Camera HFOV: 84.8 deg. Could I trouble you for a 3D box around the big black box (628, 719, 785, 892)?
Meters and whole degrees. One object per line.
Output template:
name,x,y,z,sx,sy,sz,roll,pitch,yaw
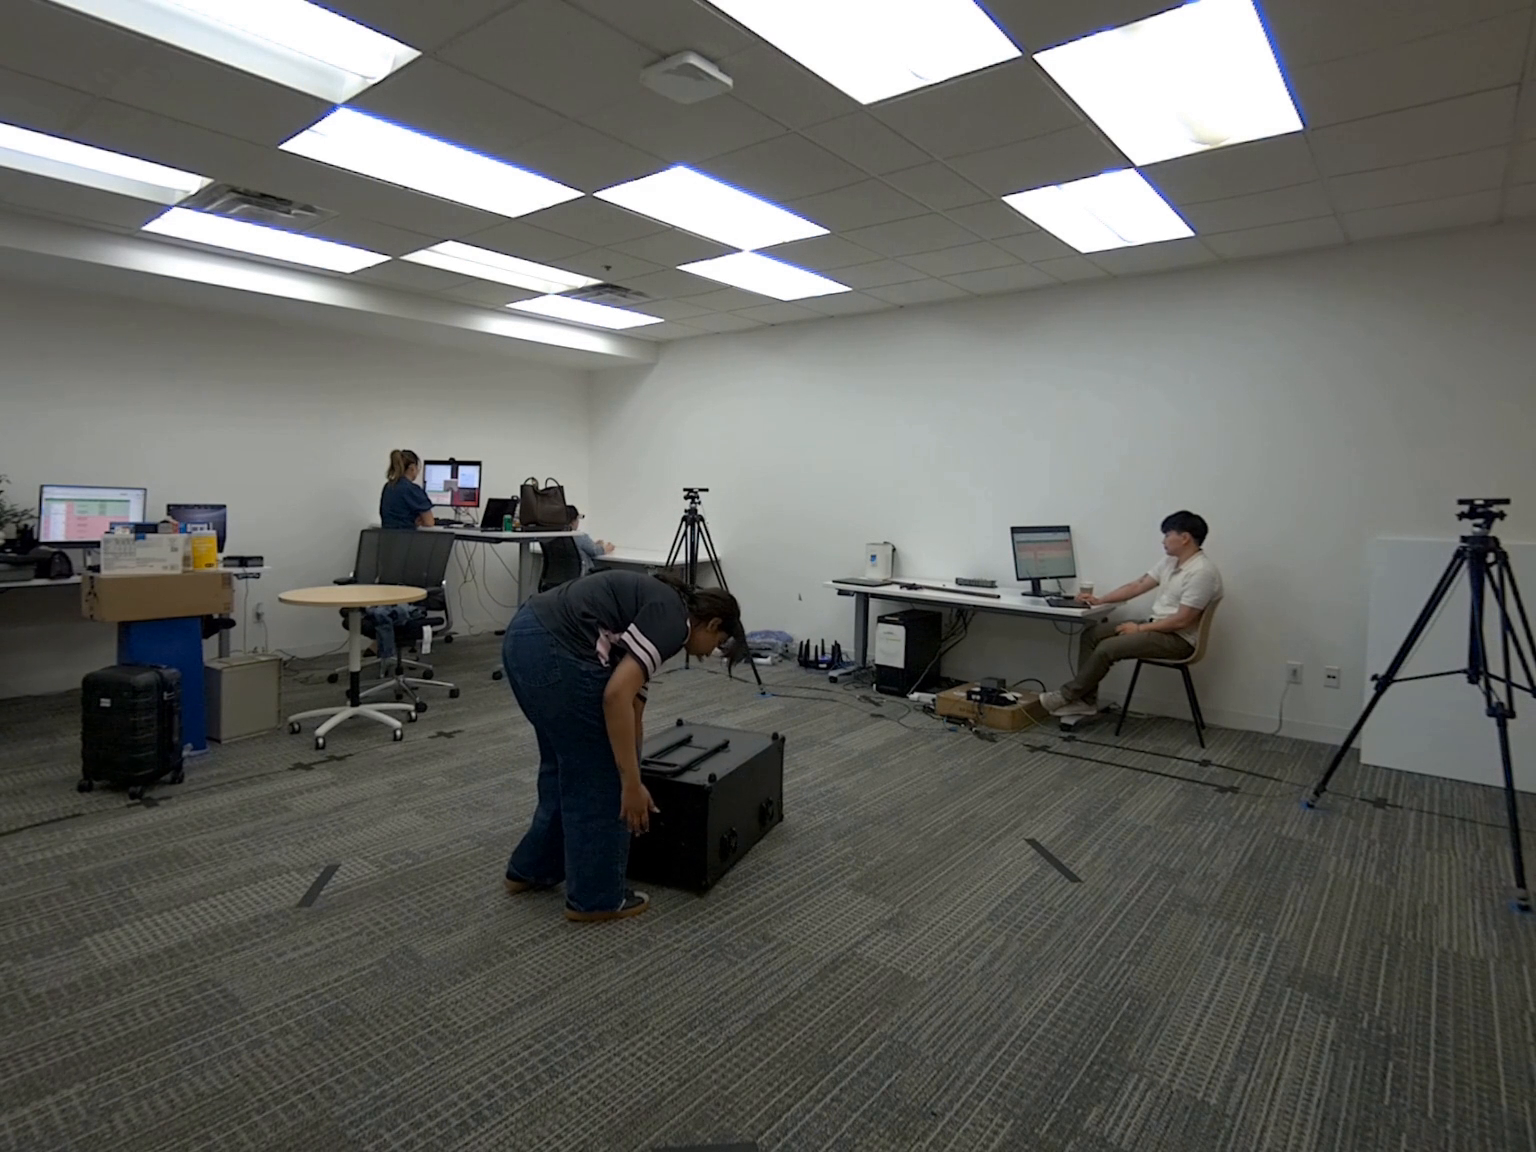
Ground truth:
big black box,-0.297,0.846,3.364,0.535,0.384,0.850,1,3,21
